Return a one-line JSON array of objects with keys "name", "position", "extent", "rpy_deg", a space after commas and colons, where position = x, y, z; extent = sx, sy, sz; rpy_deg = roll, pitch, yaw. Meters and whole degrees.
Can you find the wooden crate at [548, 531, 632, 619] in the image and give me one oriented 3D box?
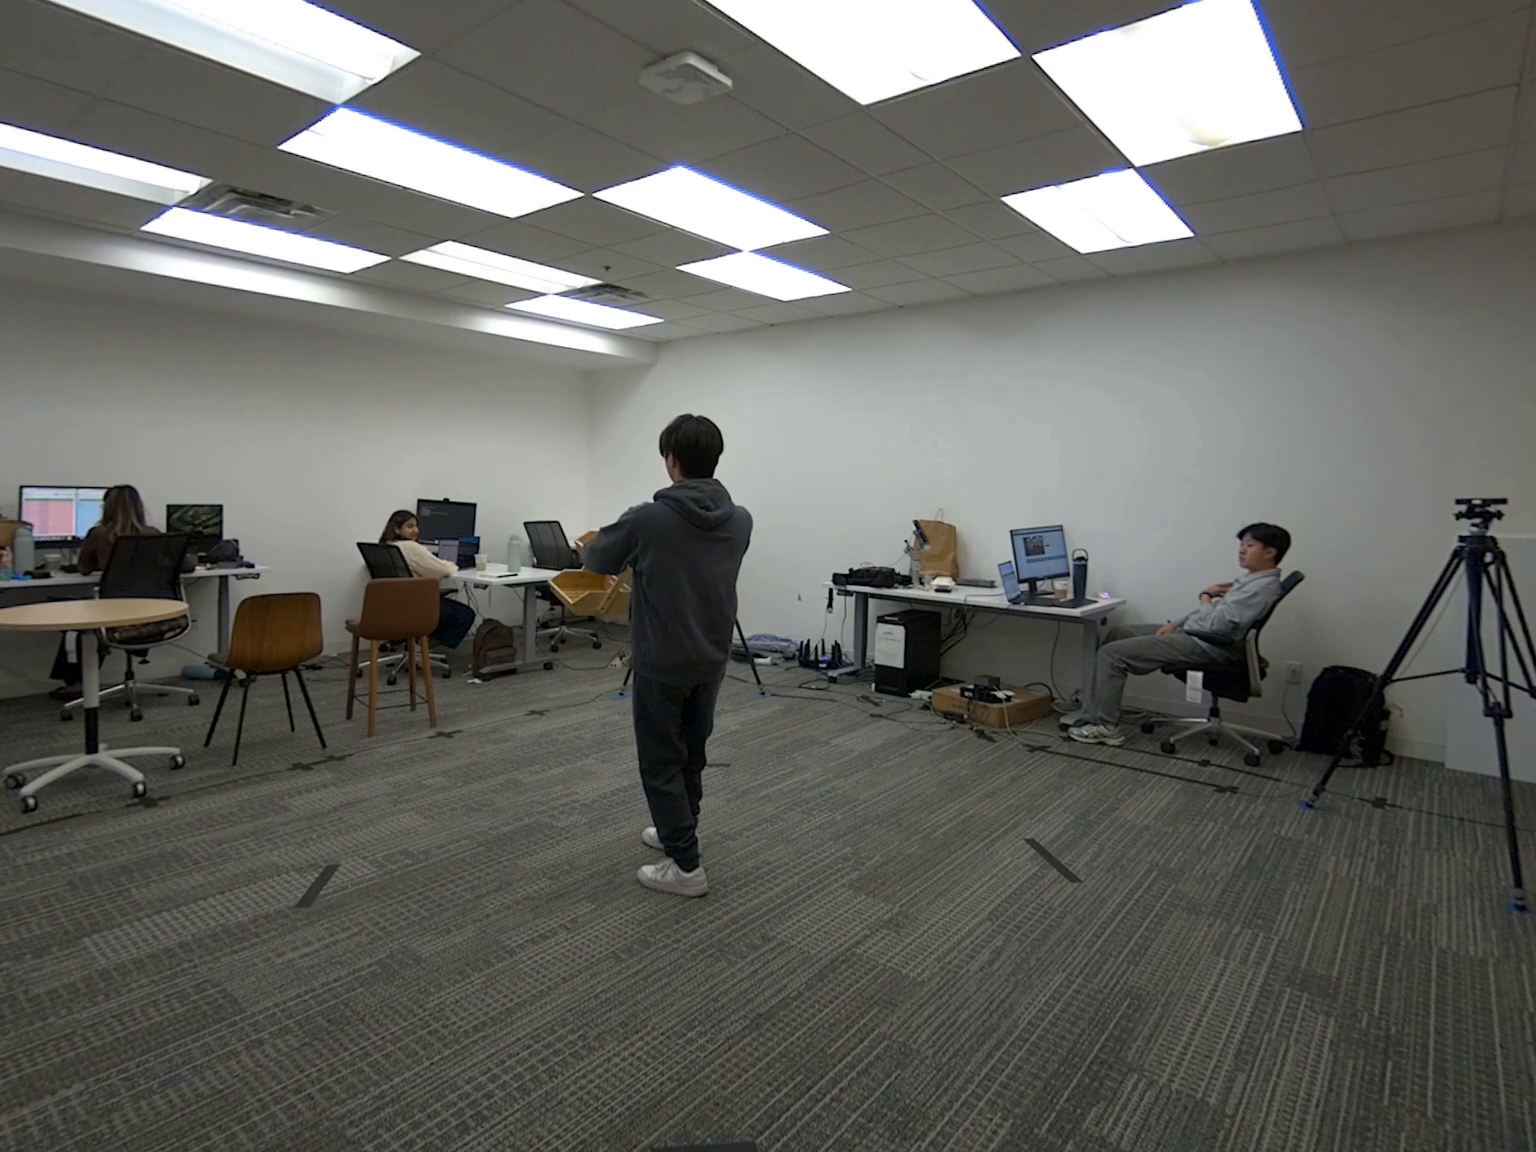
[{"name": "wooden crate", "position": [-0.684, -0.023, 3.336], "extent": [0.293, 0.271, 0.337], "rpy_deg": [2, 14, -31]}]
